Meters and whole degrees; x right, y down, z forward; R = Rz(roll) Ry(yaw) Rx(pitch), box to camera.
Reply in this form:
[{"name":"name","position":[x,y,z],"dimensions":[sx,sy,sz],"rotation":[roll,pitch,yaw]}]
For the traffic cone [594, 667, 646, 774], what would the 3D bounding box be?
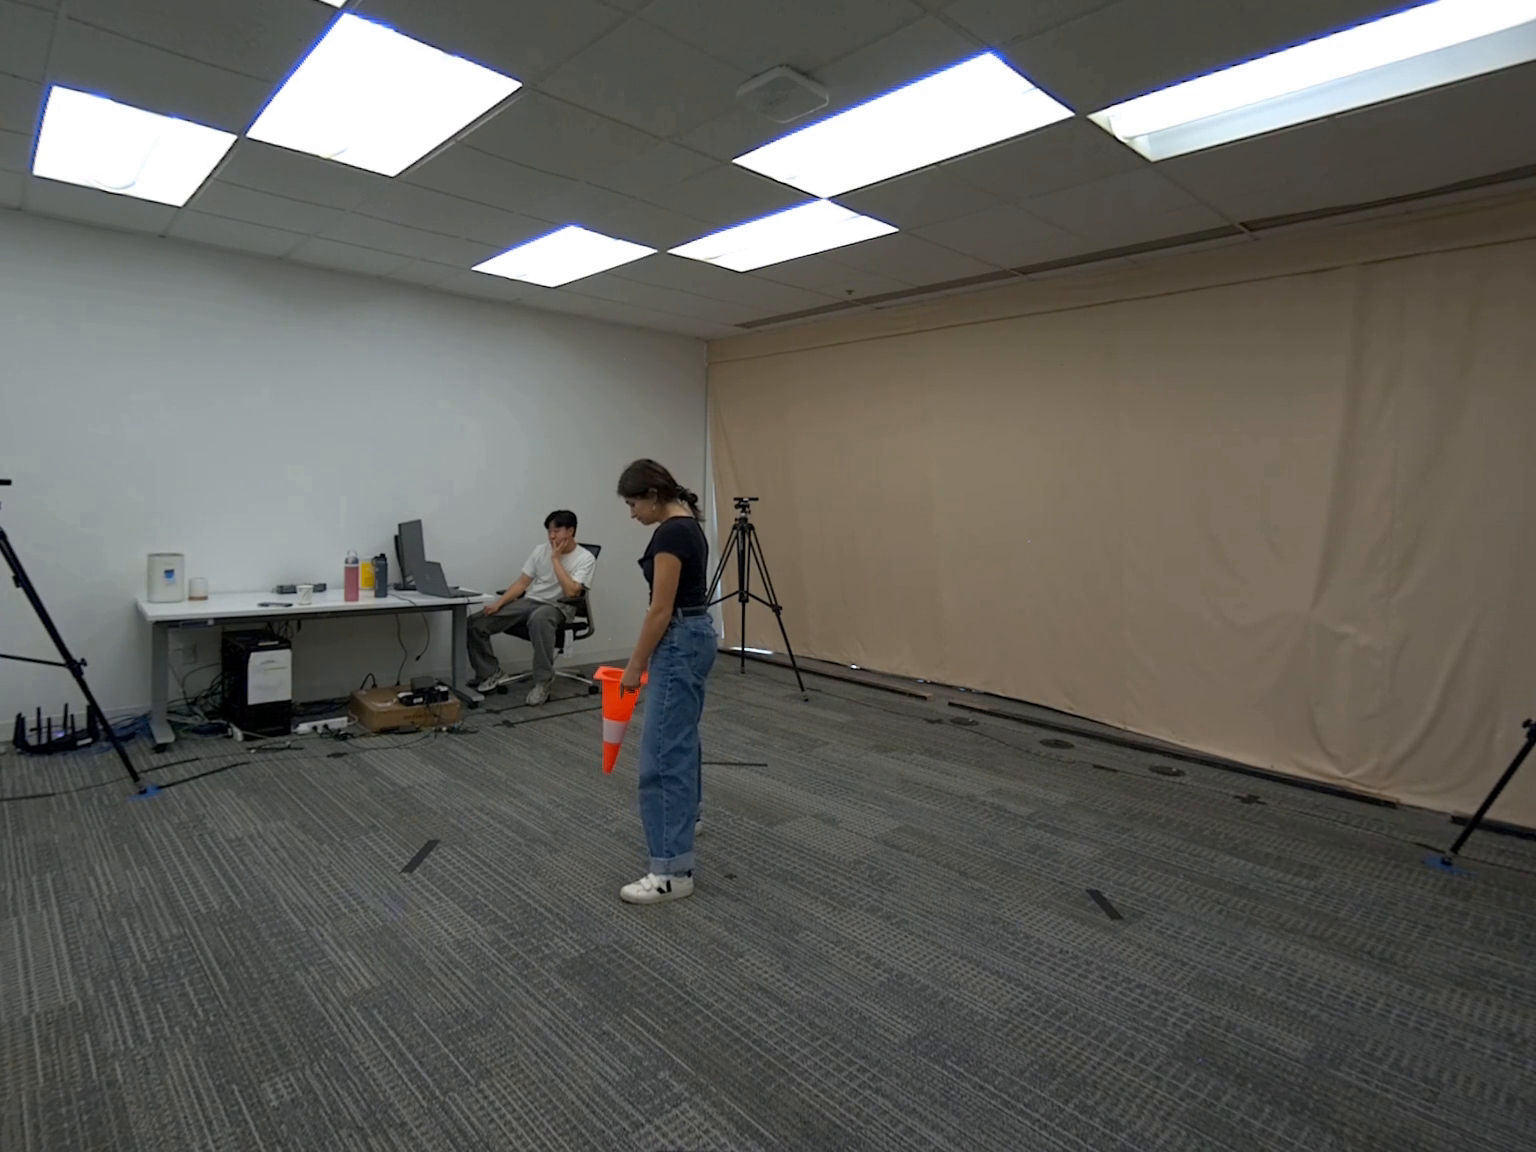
[{"name":"traffic cone","position":[-0.589,0.571,3.211],"dimensions":[0.205,0.384,0.203],"rotation":[10,-1,-1]}]
